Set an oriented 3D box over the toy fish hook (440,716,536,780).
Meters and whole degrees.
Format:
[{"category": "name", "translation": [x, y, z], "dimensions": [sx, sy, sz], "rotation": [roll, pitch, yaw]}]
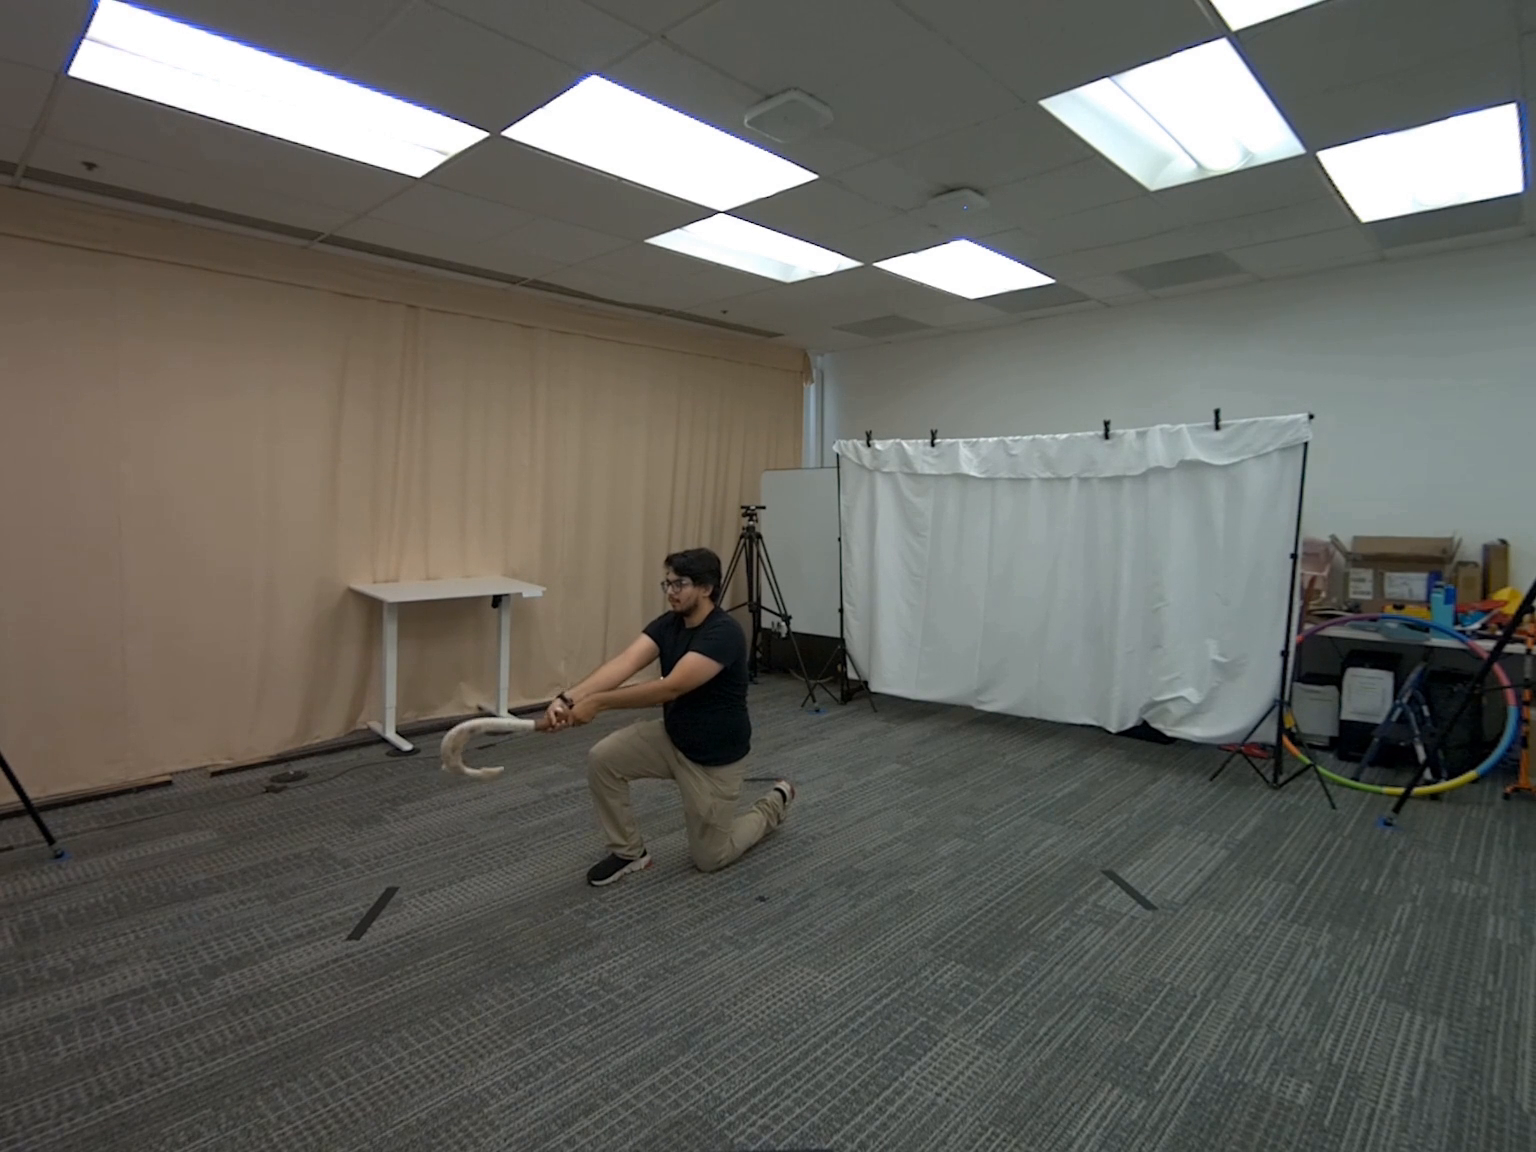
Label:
[{"category": "toy fish hook", "translation": [-0.839, 0.555, 2.826], "dimensions": [0.495, 0.222, 0.050], "rotation": [-6, 25, -25]}]
